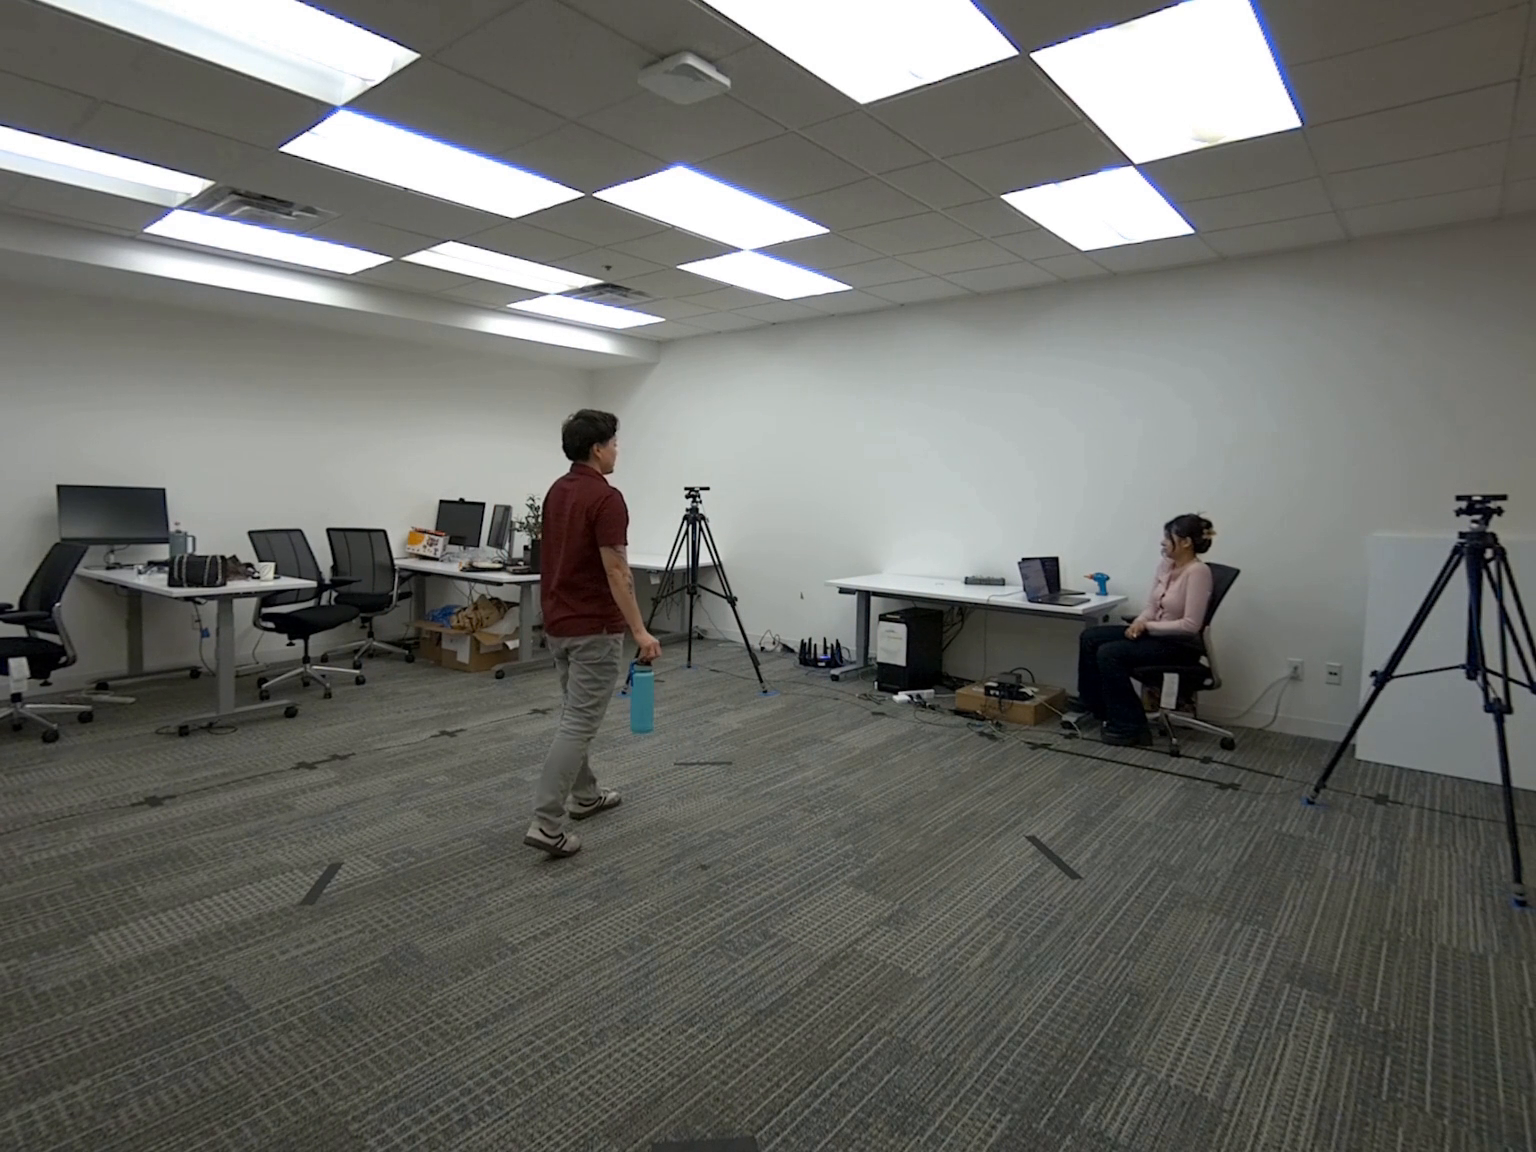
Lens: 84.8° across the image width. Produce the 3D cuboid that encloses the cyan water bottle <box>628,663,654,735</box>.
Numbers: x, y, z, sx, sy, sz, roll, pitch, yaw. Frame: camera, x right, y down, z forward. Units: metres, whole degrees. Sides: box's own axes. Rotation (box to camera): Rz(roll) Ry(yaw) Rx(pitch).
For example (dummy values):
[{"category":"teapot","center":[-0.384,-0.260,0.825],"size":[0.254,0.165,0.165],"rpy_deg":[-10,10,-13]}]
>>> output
[{"category":"cyan water bottle","center":[-0.495,0.451,3.234],"size":[0.092,0.284,0.092],"rpy_deg":[0,-2,-2]}]
